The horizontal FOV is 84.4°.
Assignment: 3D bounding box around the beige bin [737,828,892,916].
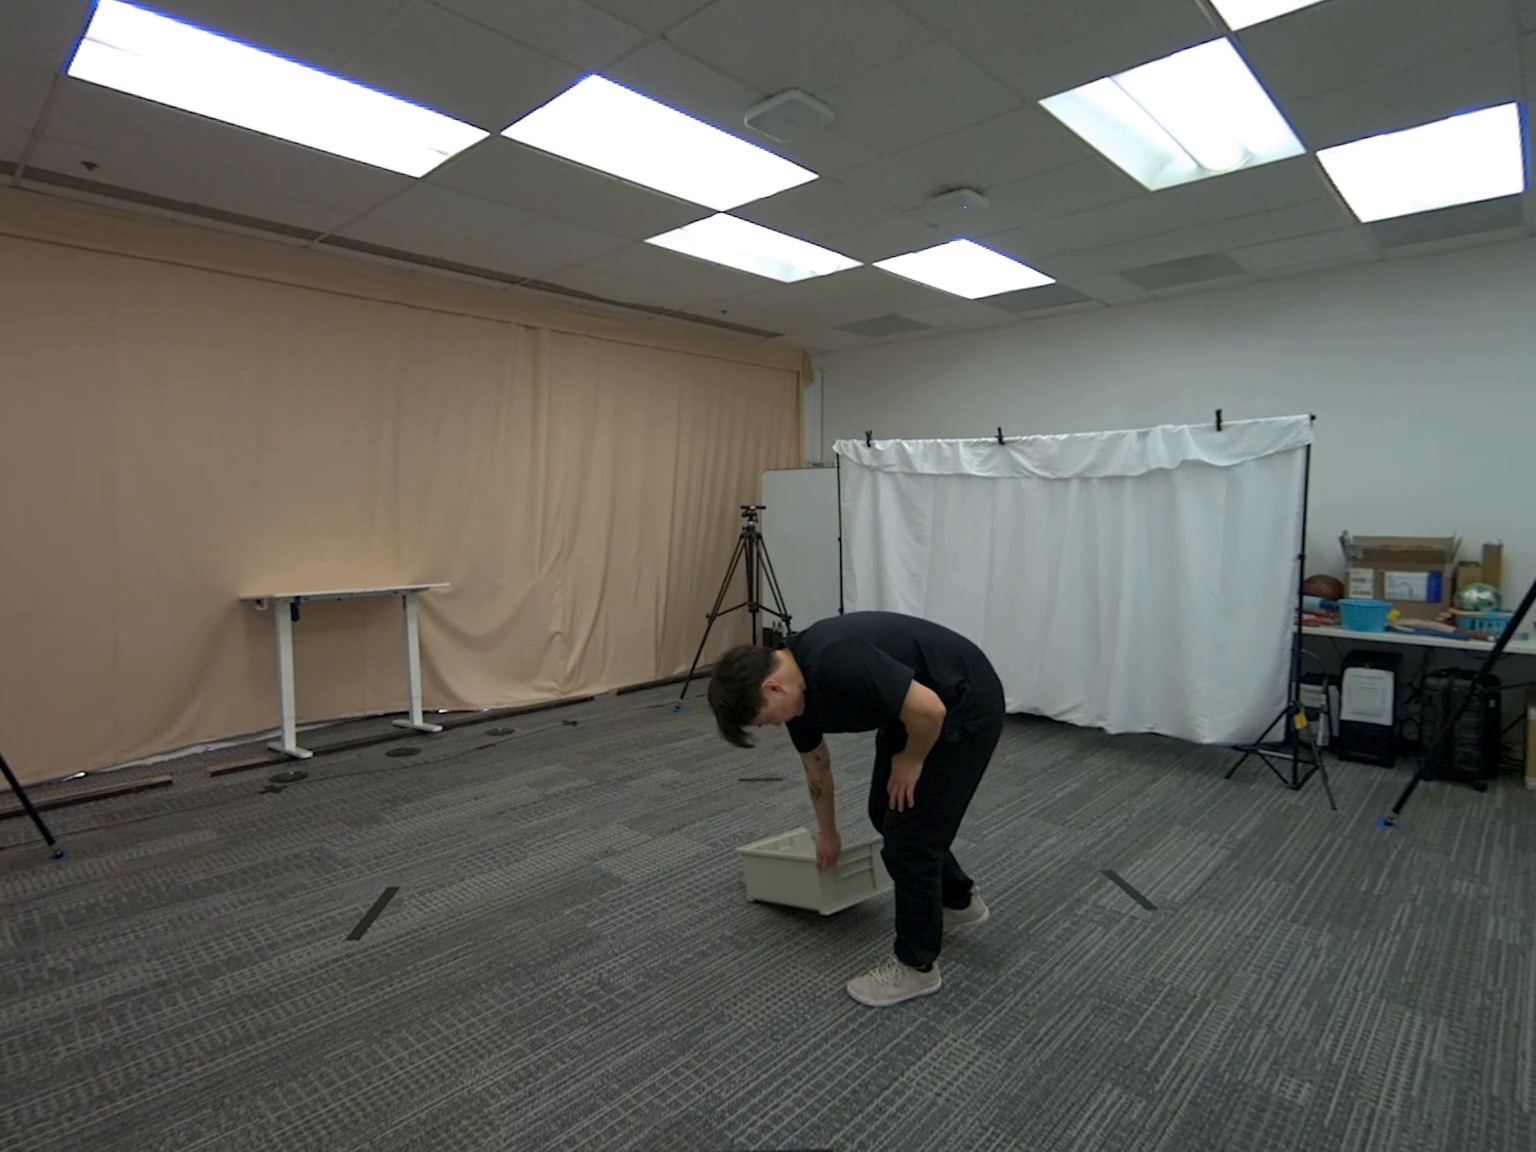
[{"bbox_3d":[0.176,1.014,2.925,0.366,0.190,0.433,-4,-6,-40],"label":"beige bin"}]
